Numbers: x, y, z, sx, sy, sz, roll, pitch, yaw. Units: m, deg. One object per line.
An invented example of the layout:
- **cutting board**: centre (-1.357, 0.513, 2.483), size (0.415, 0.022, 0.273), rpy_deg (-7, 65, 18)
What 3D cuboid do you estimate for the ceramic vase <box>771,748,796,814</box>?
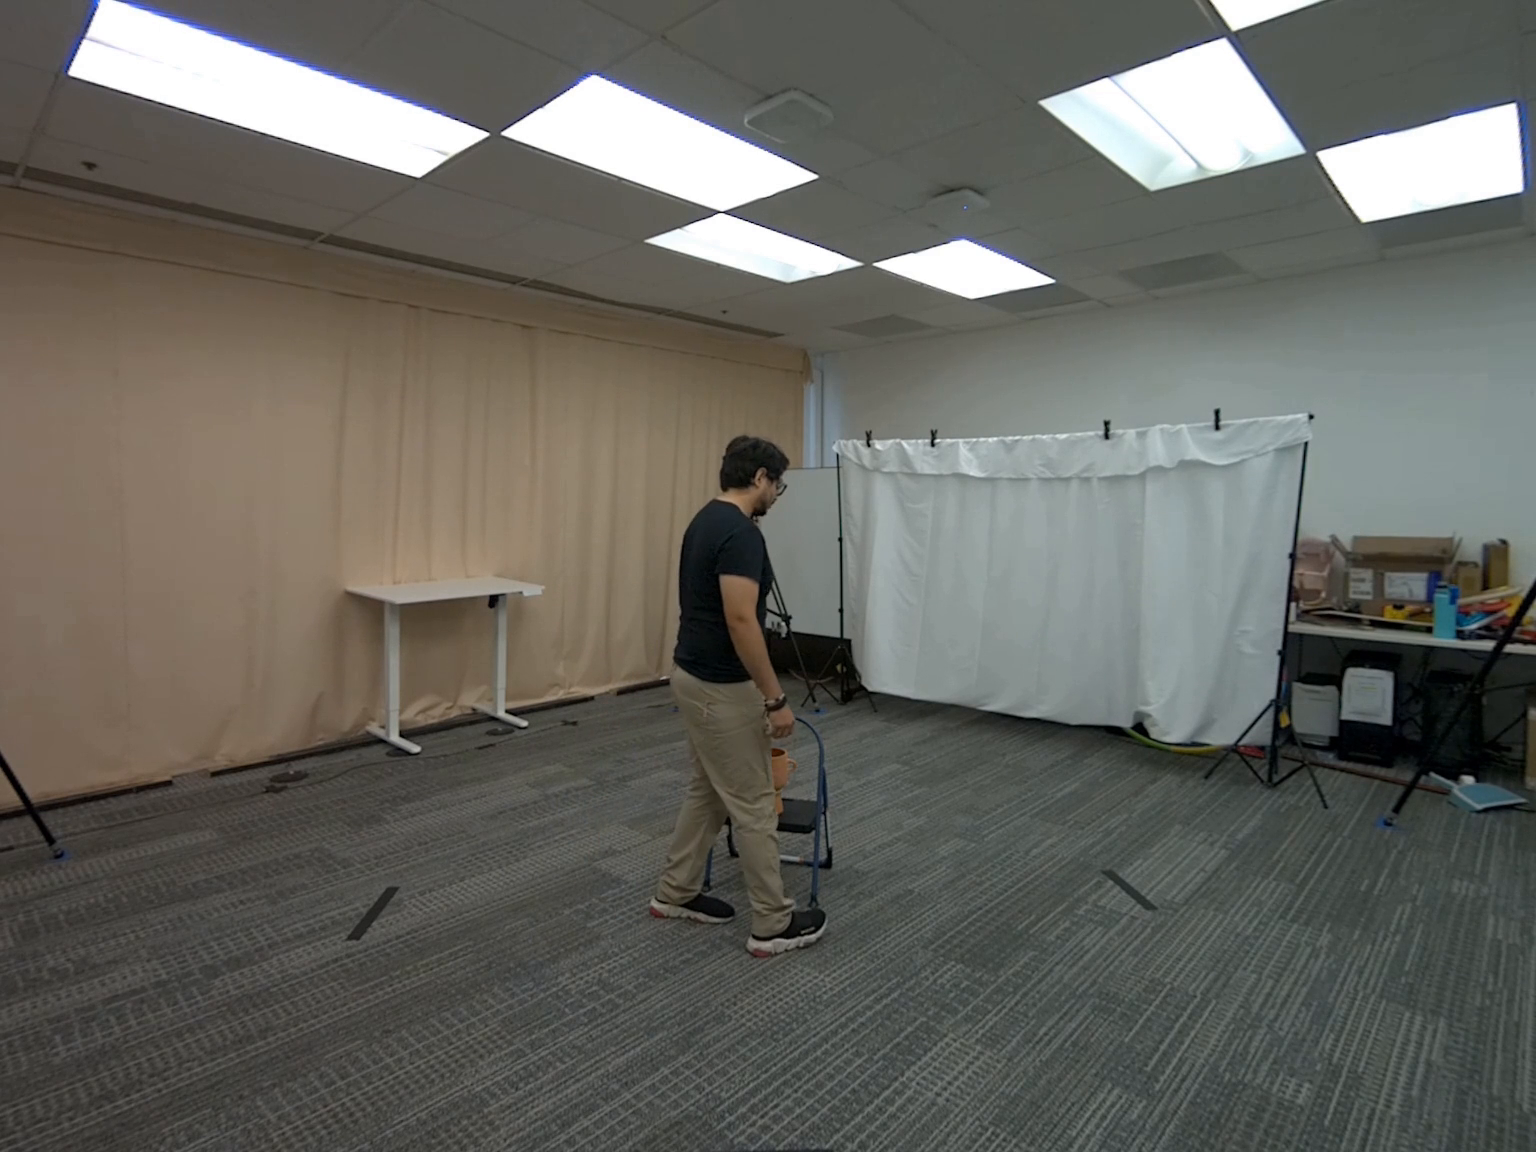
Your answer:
- **ceramic vase**: centre (0.008, 0.761, 3.108), size (0.164, 0.219, 0.130), rpy_deg (4, 6, 42)
